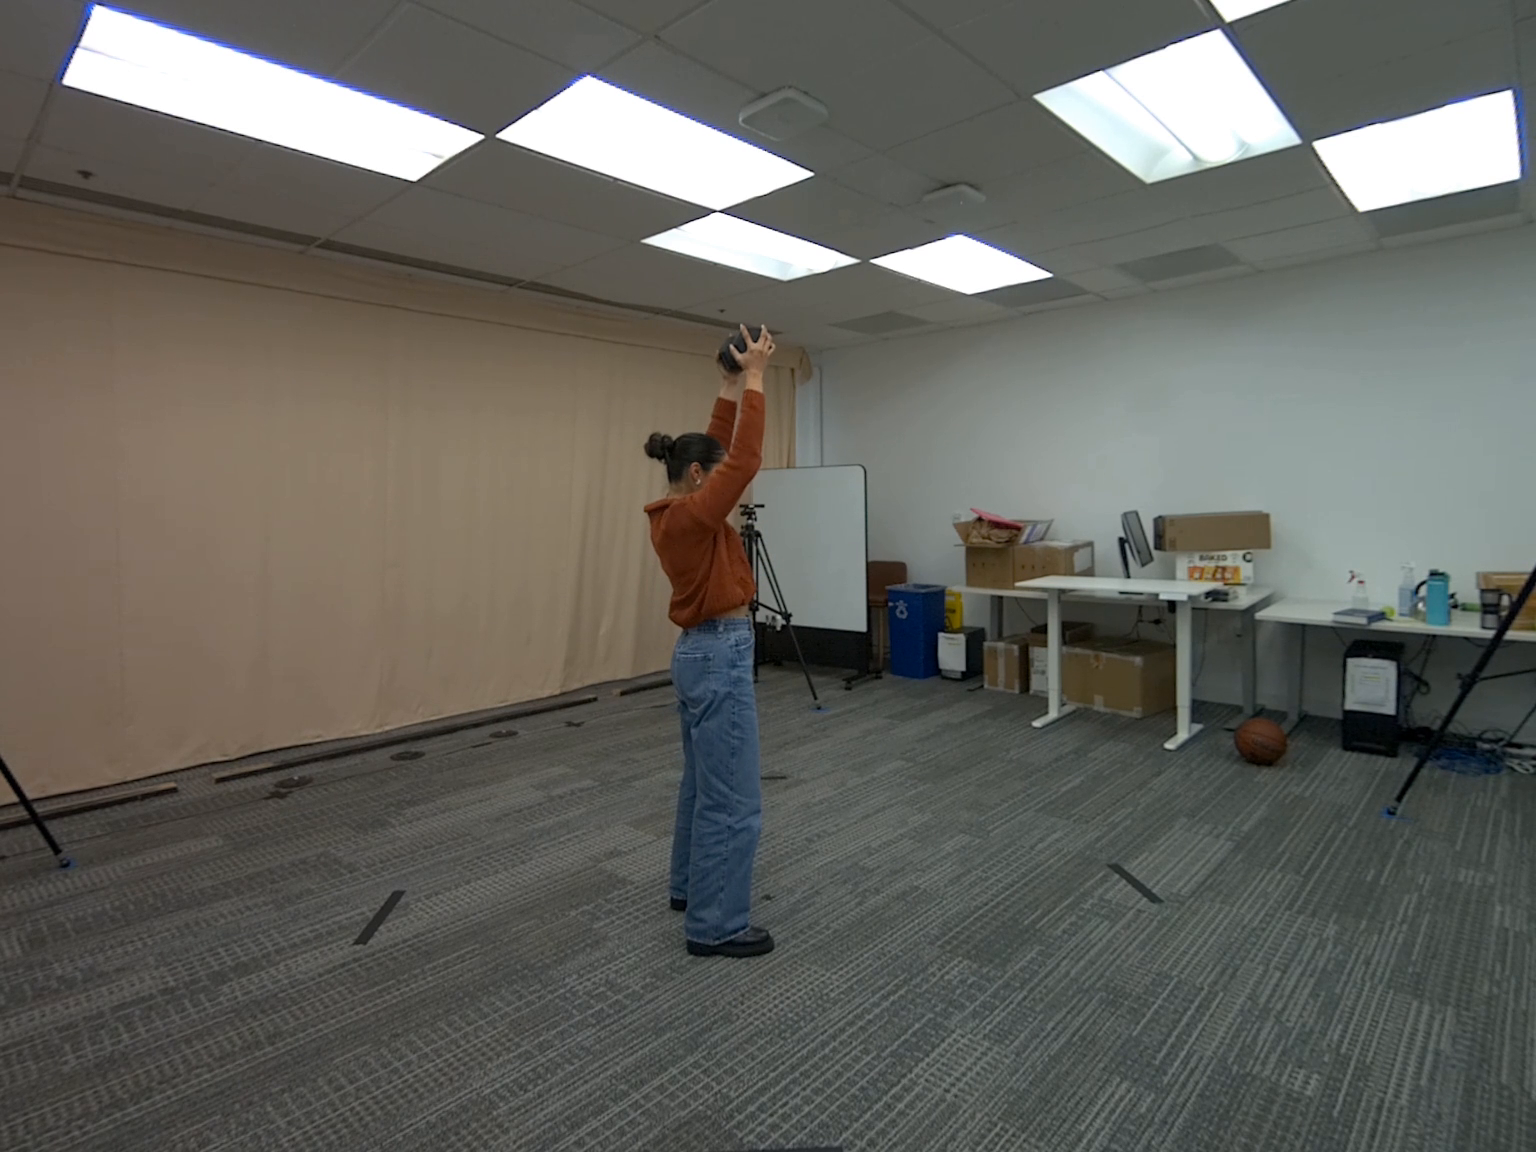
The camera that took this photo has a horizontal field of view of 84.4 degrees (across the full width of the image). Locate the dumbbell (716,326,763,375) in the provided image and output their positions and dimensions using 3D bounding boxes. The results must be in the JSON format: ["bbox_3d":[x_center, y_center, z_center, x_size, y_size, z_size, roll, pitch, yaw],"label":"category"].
[{"bbox_3d":[-0.067,-0.714,2.690,0.108,0.121,0.298,-30,13,-5],"label":"dumbbell"}]
